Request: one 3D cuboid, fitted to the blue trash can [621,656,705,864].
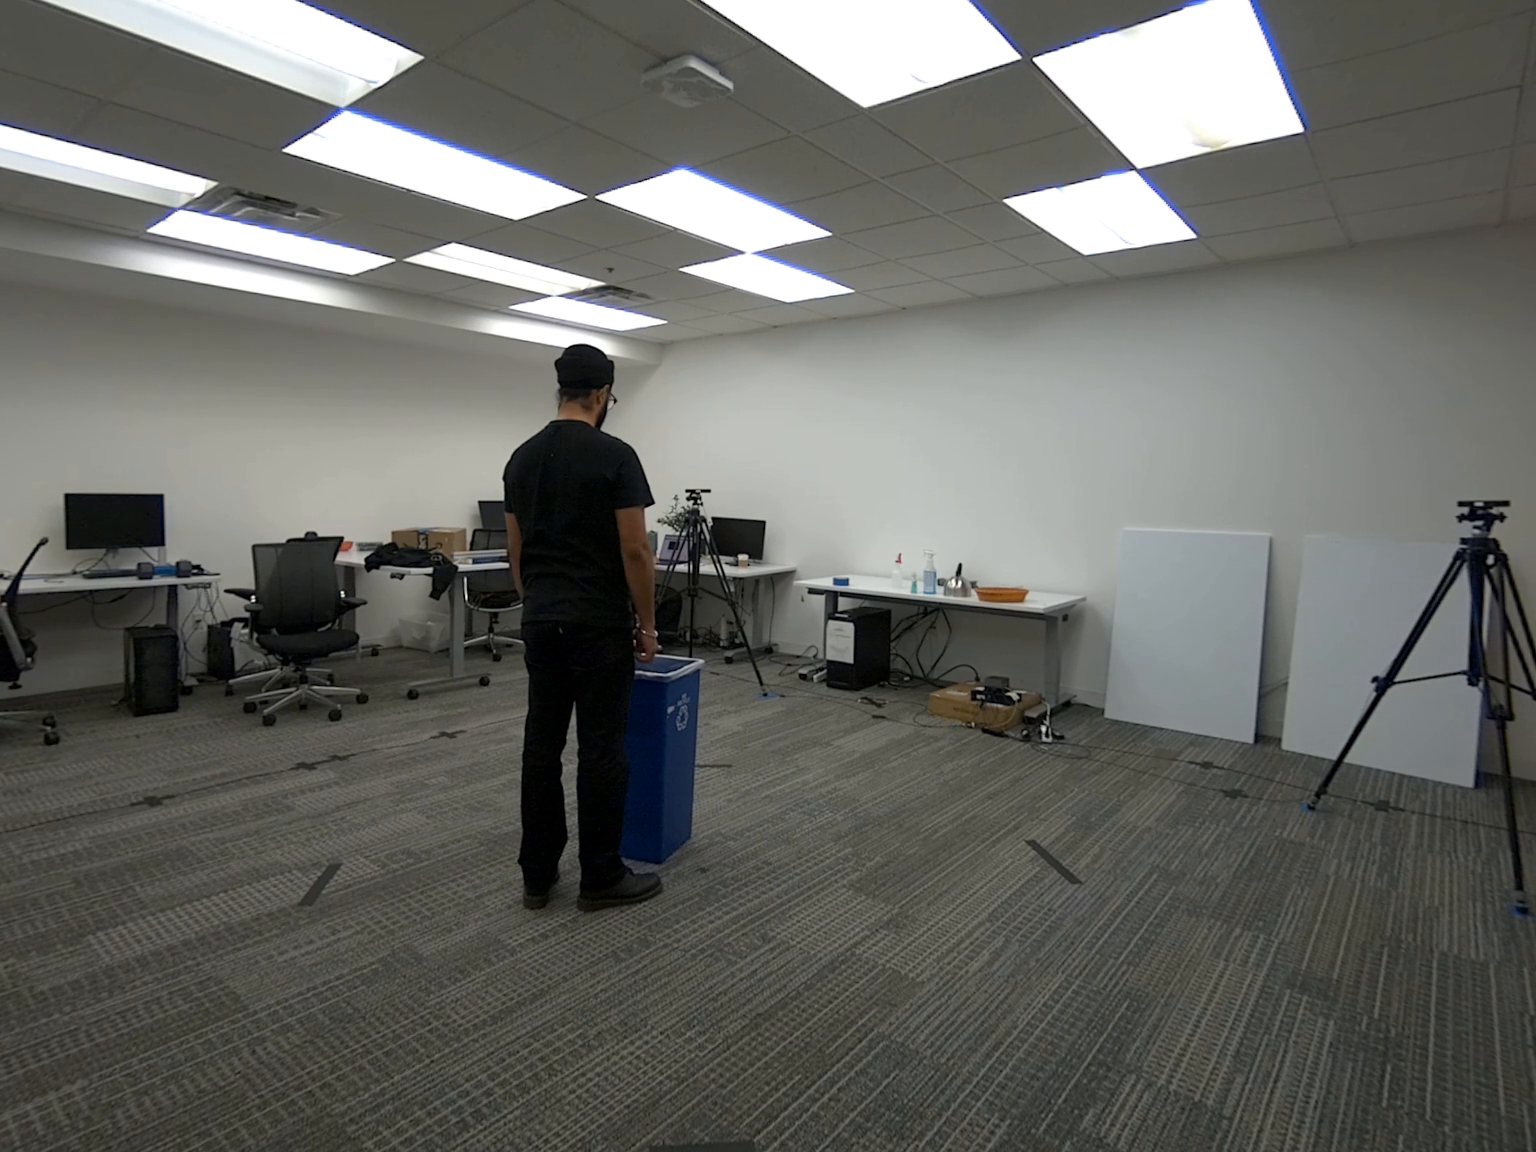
[{"bbox_3d":[-0.490,0.692,3.320,0.386,0.712,0.367,2,2,19],"label":"blue trash can"}]
